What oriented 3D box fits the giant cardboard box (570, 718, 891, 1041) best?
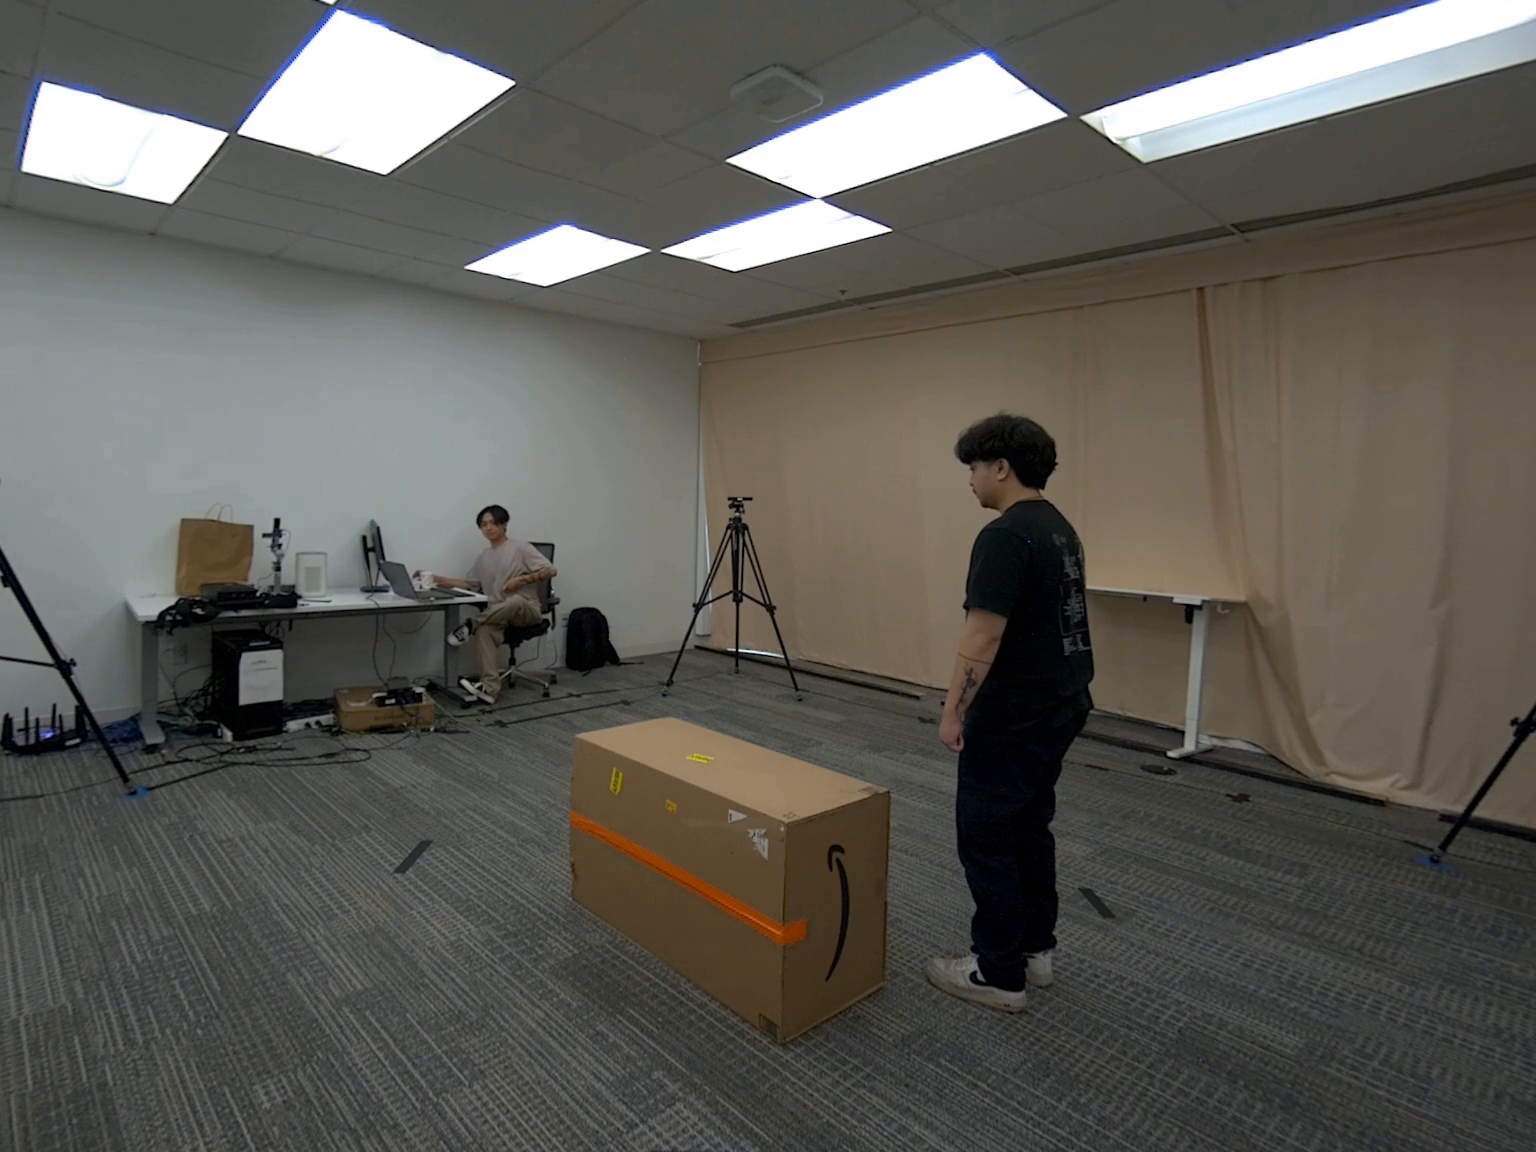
[{"bbox_3d":[-0.173,0.863,2.646,0.437,0.582,1.053,-3,6,-43],"label":"giant cardboard box"}]
